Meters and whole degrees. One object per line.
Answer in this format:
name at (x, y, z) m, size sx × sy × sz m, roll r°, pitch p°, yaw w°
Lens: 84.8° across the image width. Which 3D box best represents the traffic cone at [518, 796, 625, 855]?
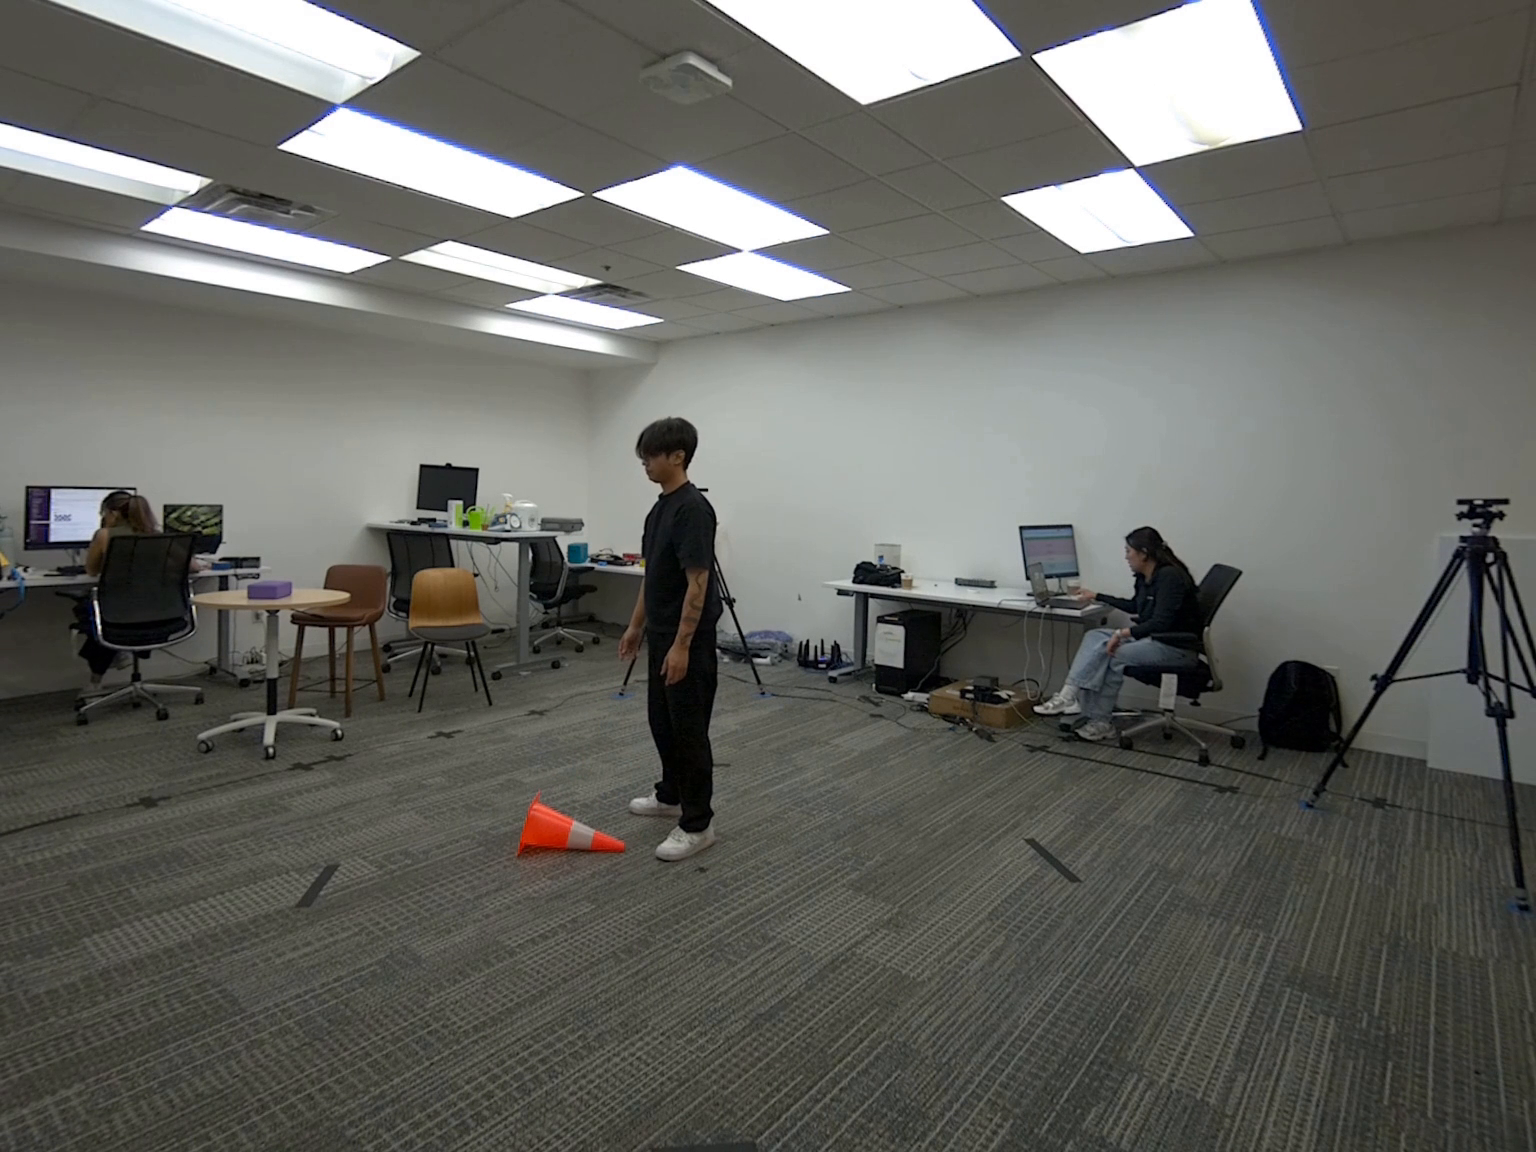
traffic cone at (-0.747, 1.003, 3.274) m, size 0.383 × 0.203 × 0.206 m, roll 17°, pitch 3°, yaw -2°
